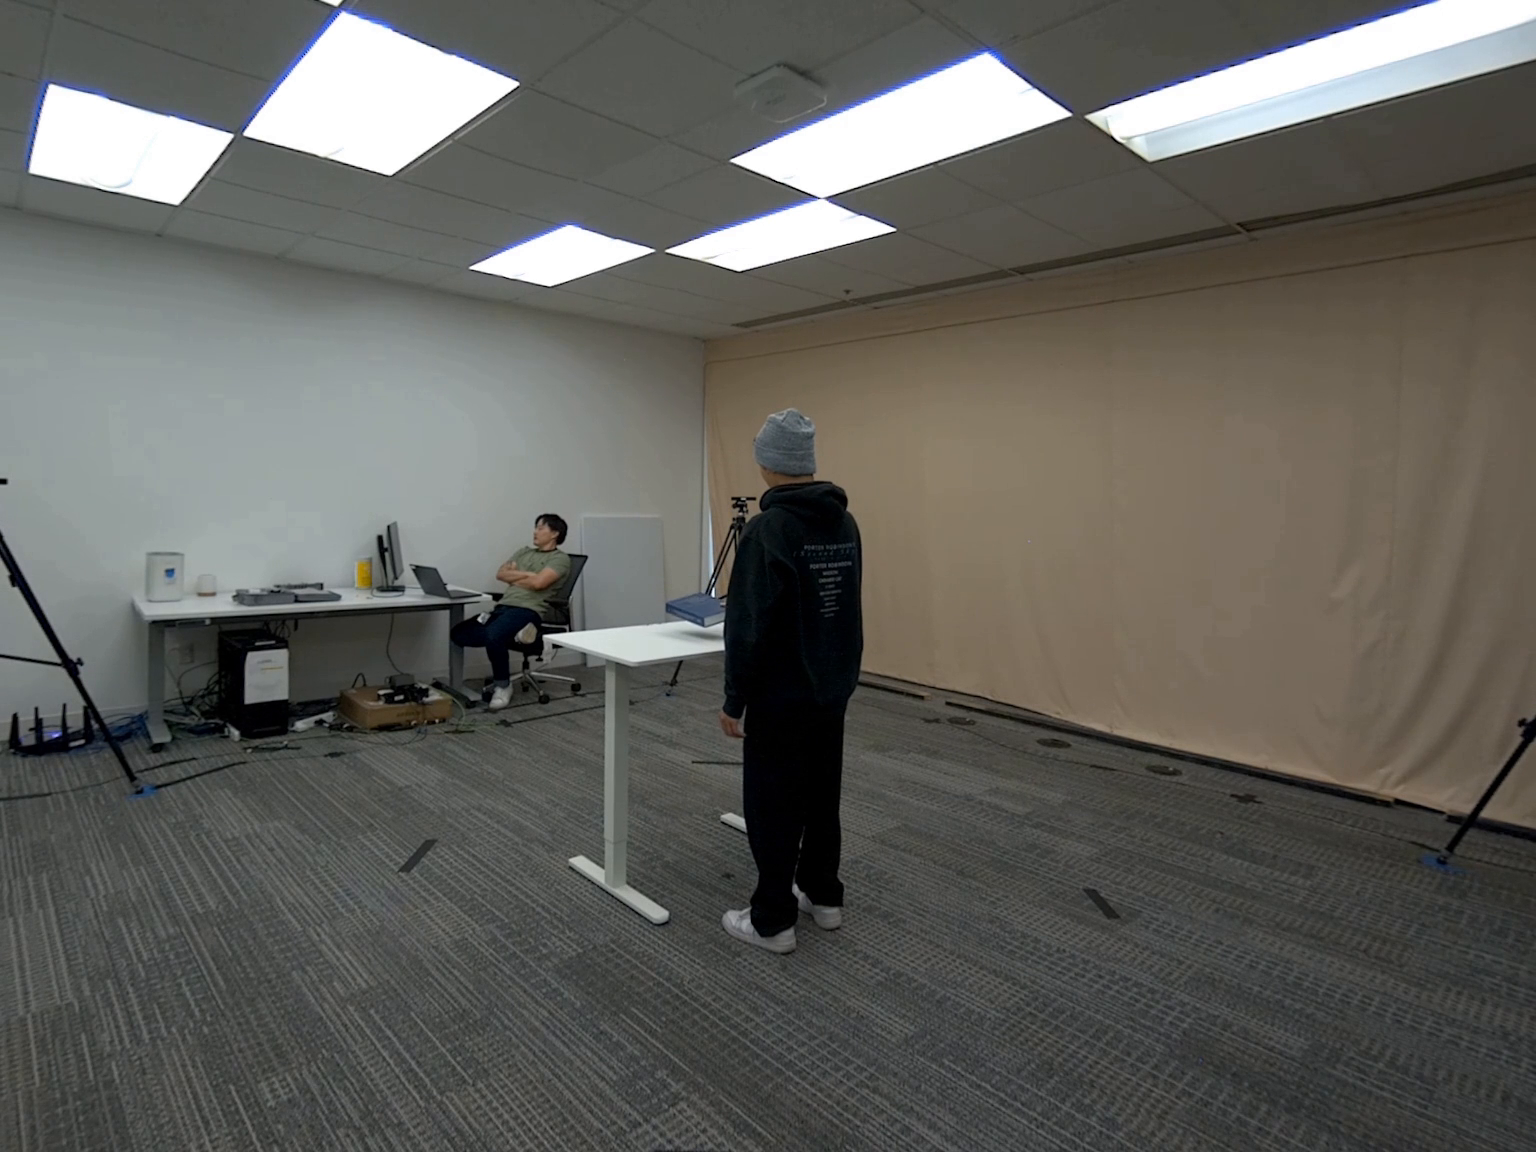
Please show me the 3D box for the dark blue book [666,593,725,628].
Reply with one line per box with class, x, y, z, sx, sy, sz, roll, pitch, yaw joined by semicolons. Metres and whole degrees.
dark blue book;-0.259;0.129;3.110;0.161;0.044;0.252;-15;20;-34
